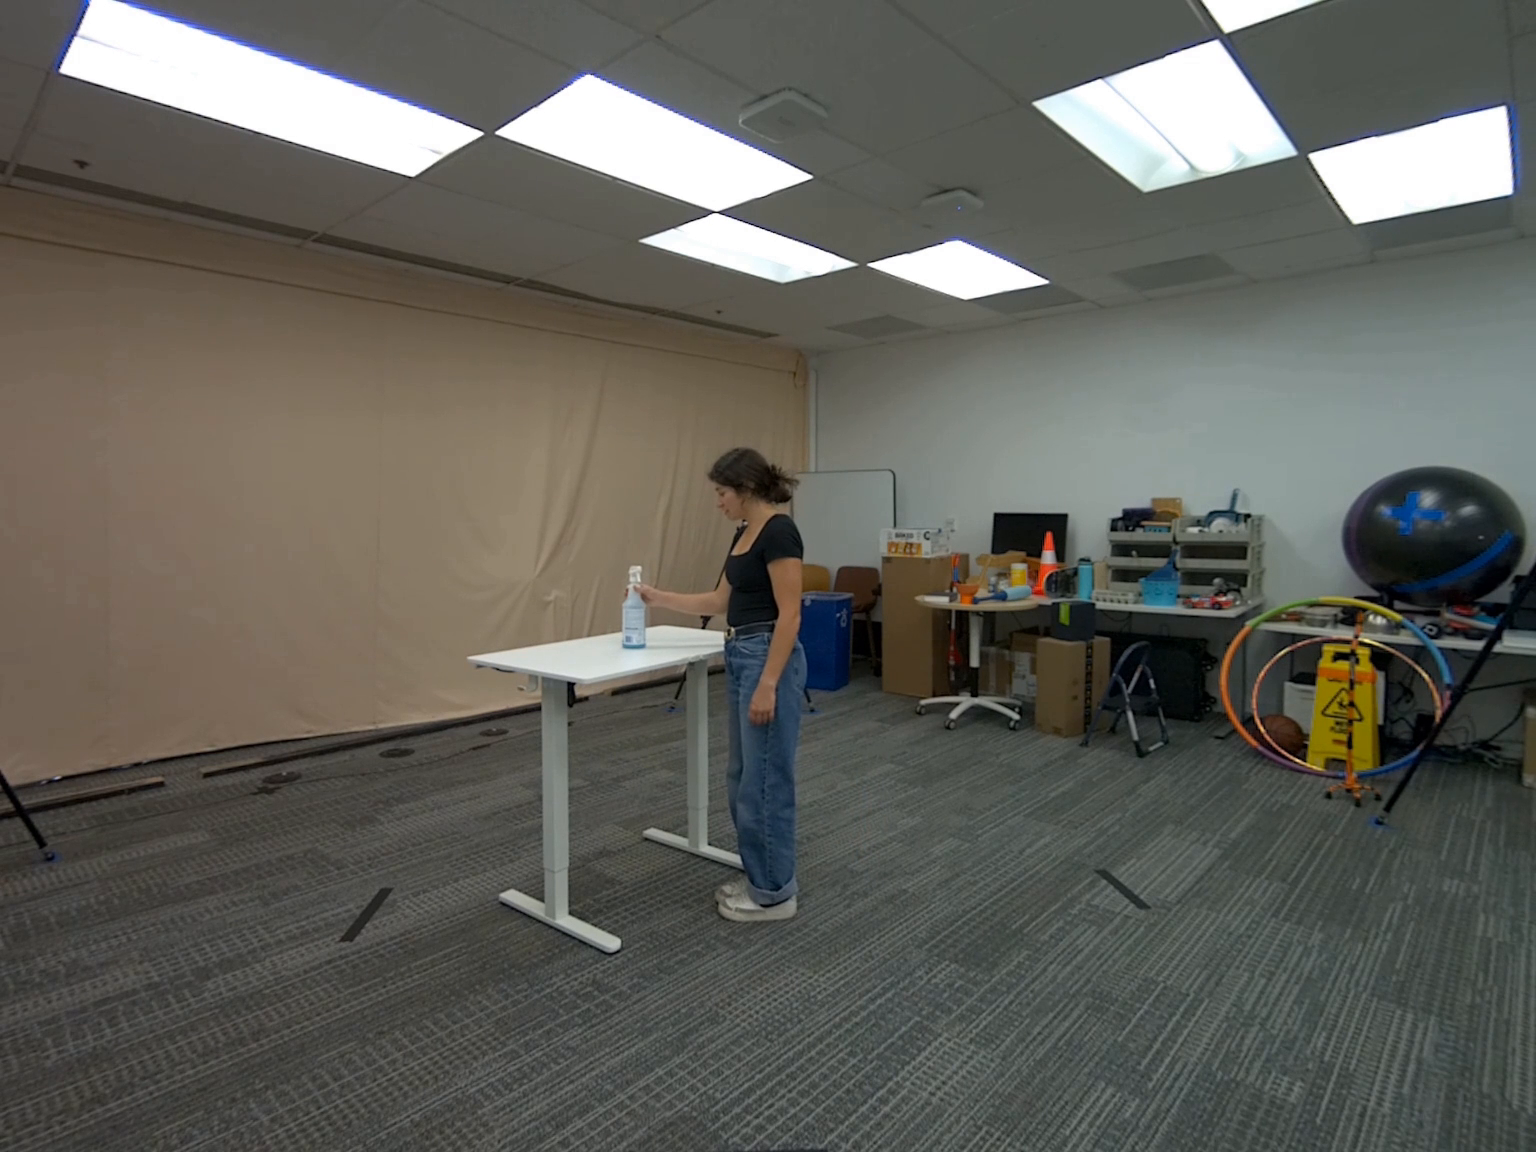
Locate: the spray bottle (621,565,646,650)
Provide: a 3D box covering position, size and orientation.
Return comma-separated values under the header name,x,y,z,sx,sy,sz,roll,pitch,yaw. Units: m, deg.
name,x,y,z,sx,sy,sz,roll,pitch,yaw
spray bottle,-0.485,0.117,3.074,0.087,0.297,0.090,0,2,-3
